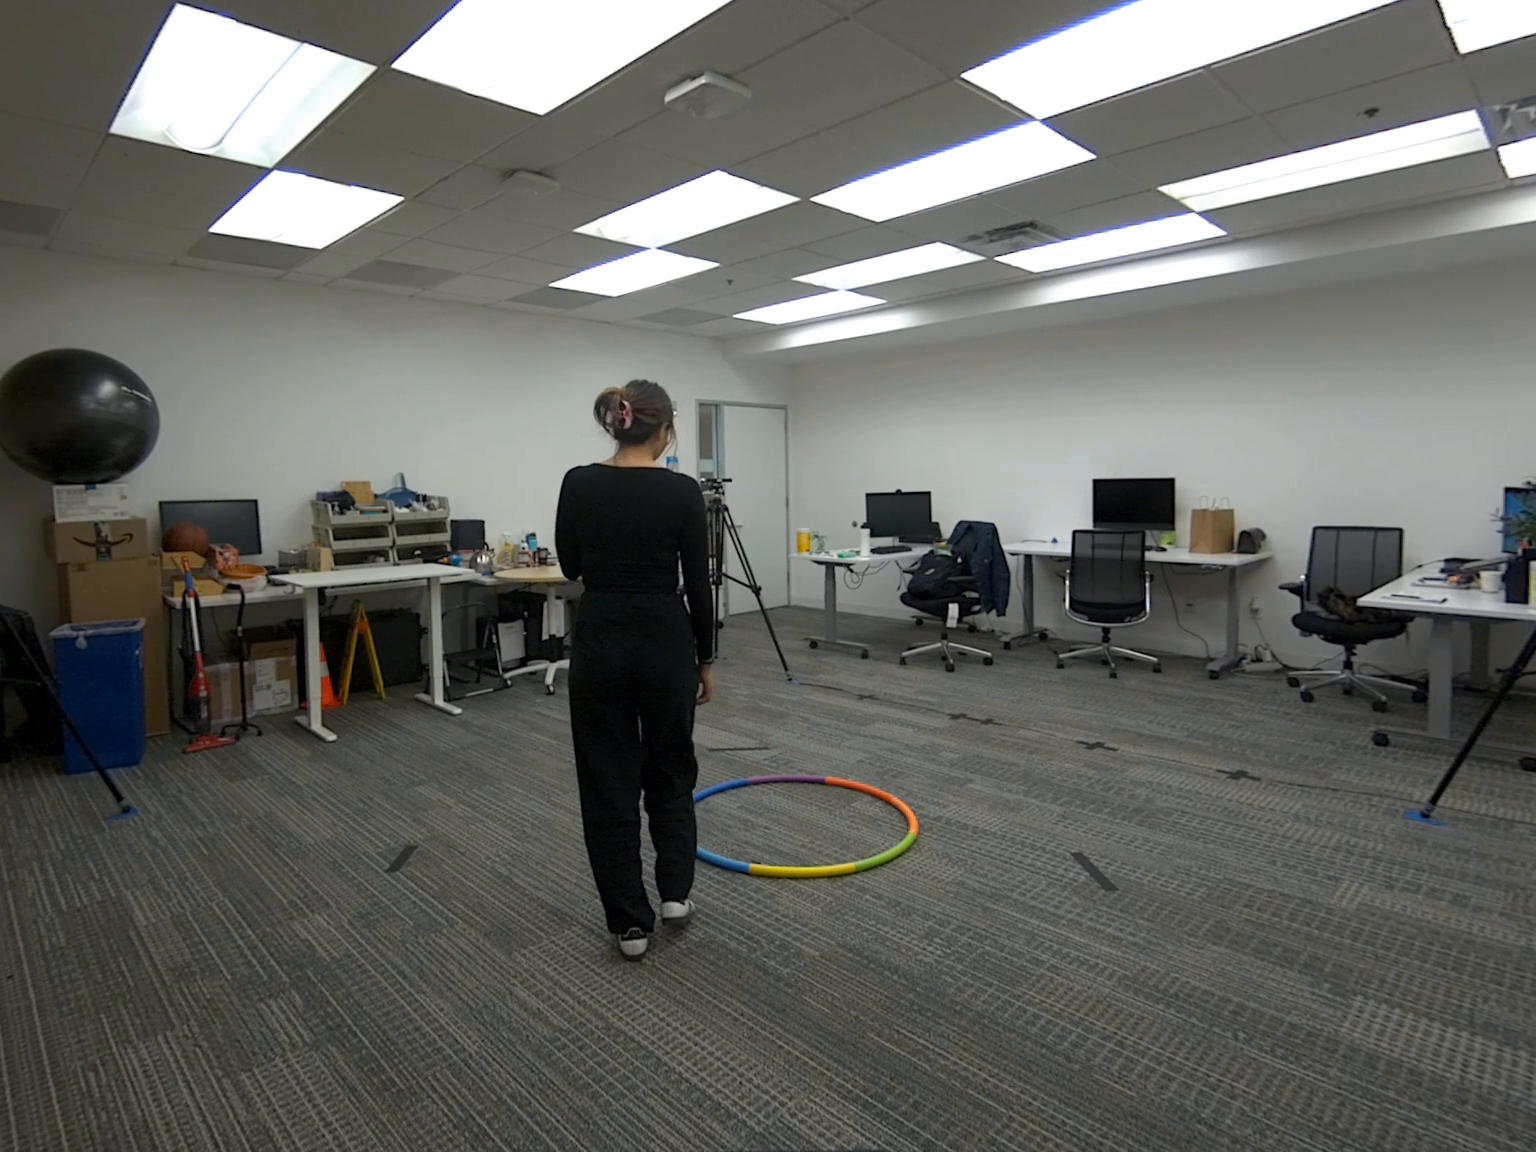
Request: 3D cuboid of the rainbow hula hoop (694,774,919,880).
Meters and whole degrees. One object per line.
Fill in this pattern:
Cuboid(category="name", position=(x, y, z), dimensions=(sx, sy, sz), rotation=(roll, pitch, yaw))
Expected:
Cuboid(category="rainbow hula hoop", position=(0.098, 0.972, 3.458), dimensions=(0.978, 0.035, 0.984), rotation=(-1, 7, -2))
